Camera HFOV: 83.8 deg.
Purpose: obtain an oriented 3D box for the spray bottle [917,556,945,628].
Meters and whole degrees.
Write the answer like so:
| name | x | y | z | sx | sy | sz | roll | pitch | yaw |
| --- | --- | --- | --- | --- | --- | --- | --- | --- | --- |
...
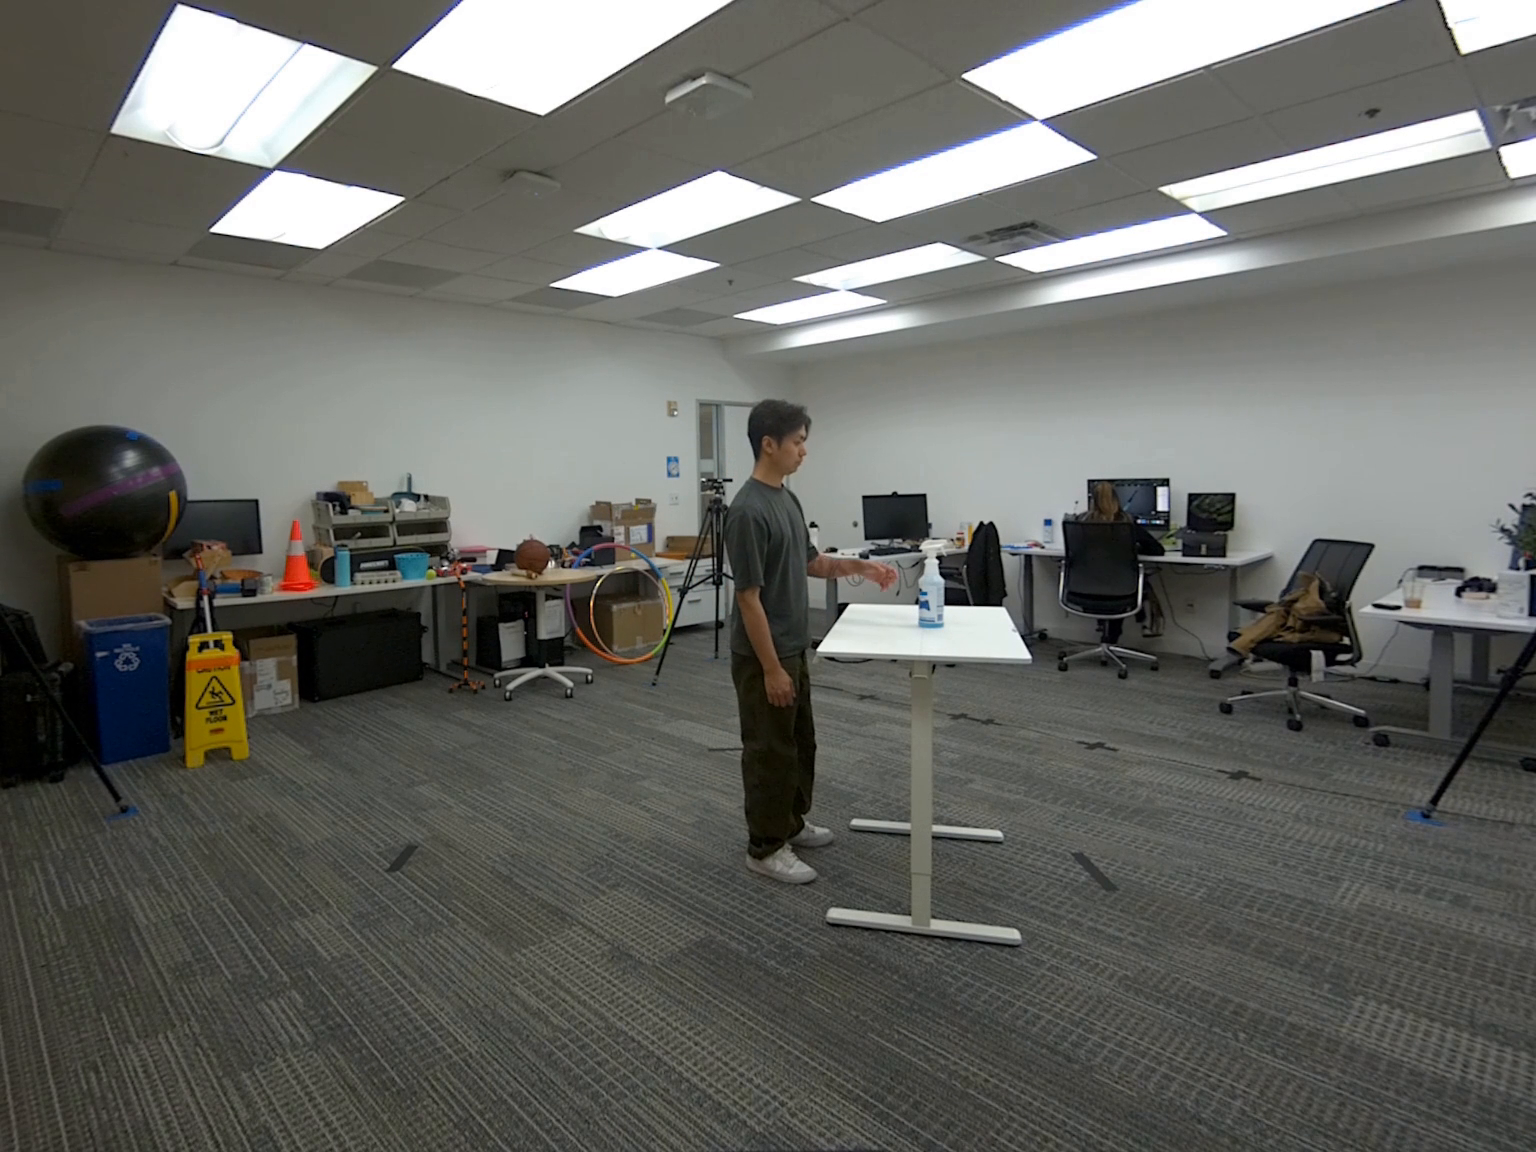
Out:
| name | x | y | z | sx | sy | sz | roll | pitch | yaw |
| --- | --- | --- | --- | --- | --- | --- | --- | --- | --- |
| spray bottle | 0.558 | 0.025 | 2.923 | 0.092 | 0.296 | 0.085 | 2 | 4 | 28 |
